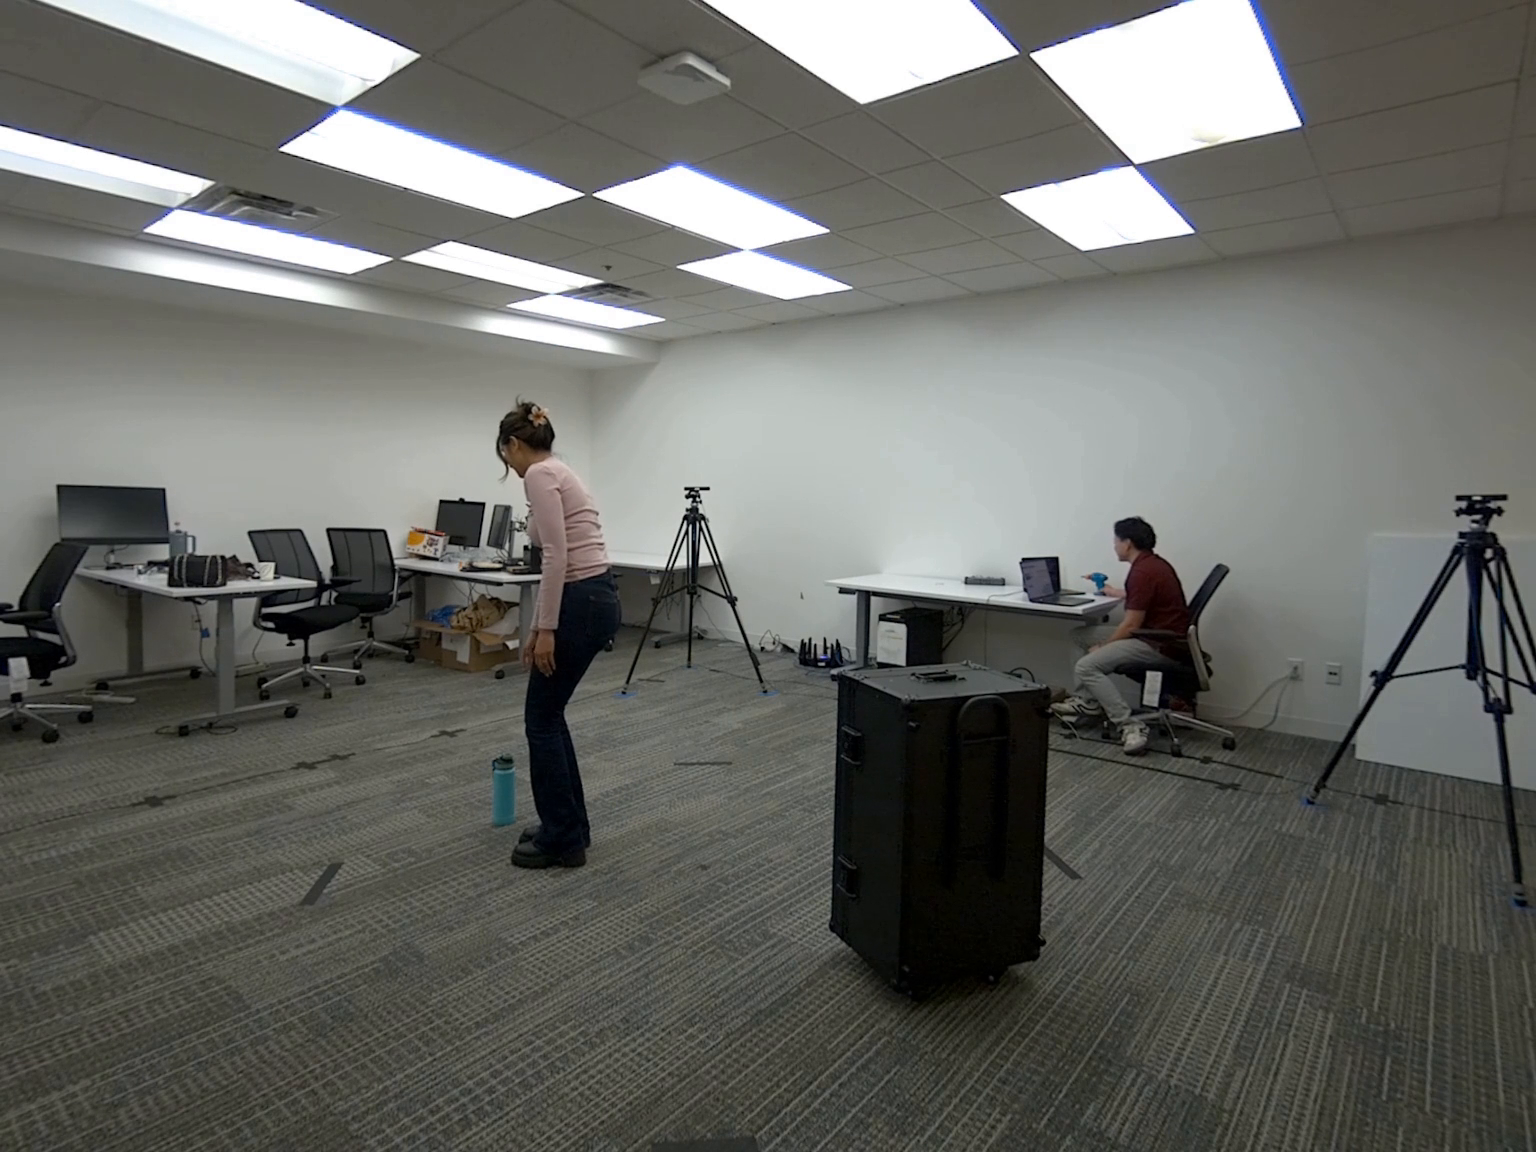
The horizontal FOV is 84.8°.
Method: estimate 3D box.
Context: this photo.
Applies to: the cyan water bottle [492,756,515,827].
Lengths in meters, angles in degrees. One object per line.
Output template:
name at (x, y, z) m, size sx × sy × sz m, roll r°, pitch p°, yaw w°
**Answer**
cyan water bottle at (-1.111, 0.875, 3.512) m, size 0.092 × 0.282 × 0.093 m, roll -1°, pitch 3°, yaw -2°
